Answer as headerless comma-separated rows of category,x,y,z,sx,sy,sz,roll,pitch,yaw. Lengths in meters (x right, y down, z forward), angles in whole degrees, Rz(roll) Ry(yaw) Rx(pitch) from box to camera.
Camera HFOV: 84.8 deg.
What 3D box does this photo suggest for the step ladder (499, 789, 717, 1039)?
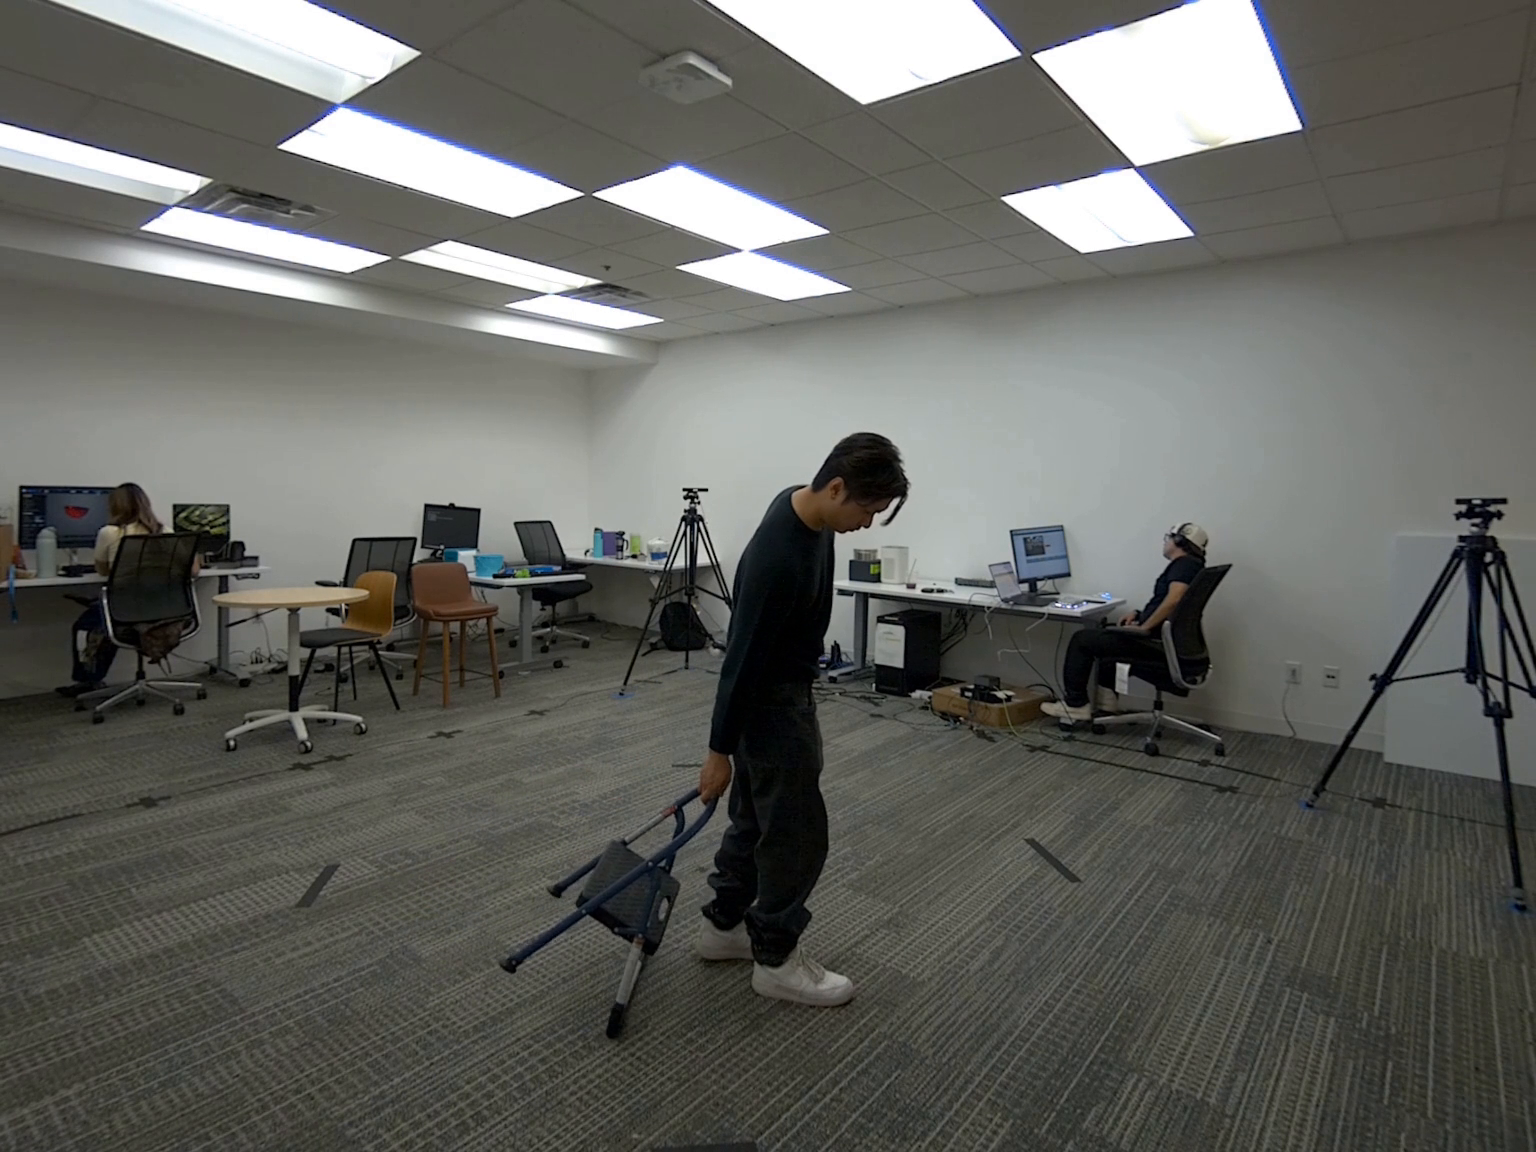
step ladder,-0.368,0.810,2.312,0.350,0.605,0.430,32,6,0
